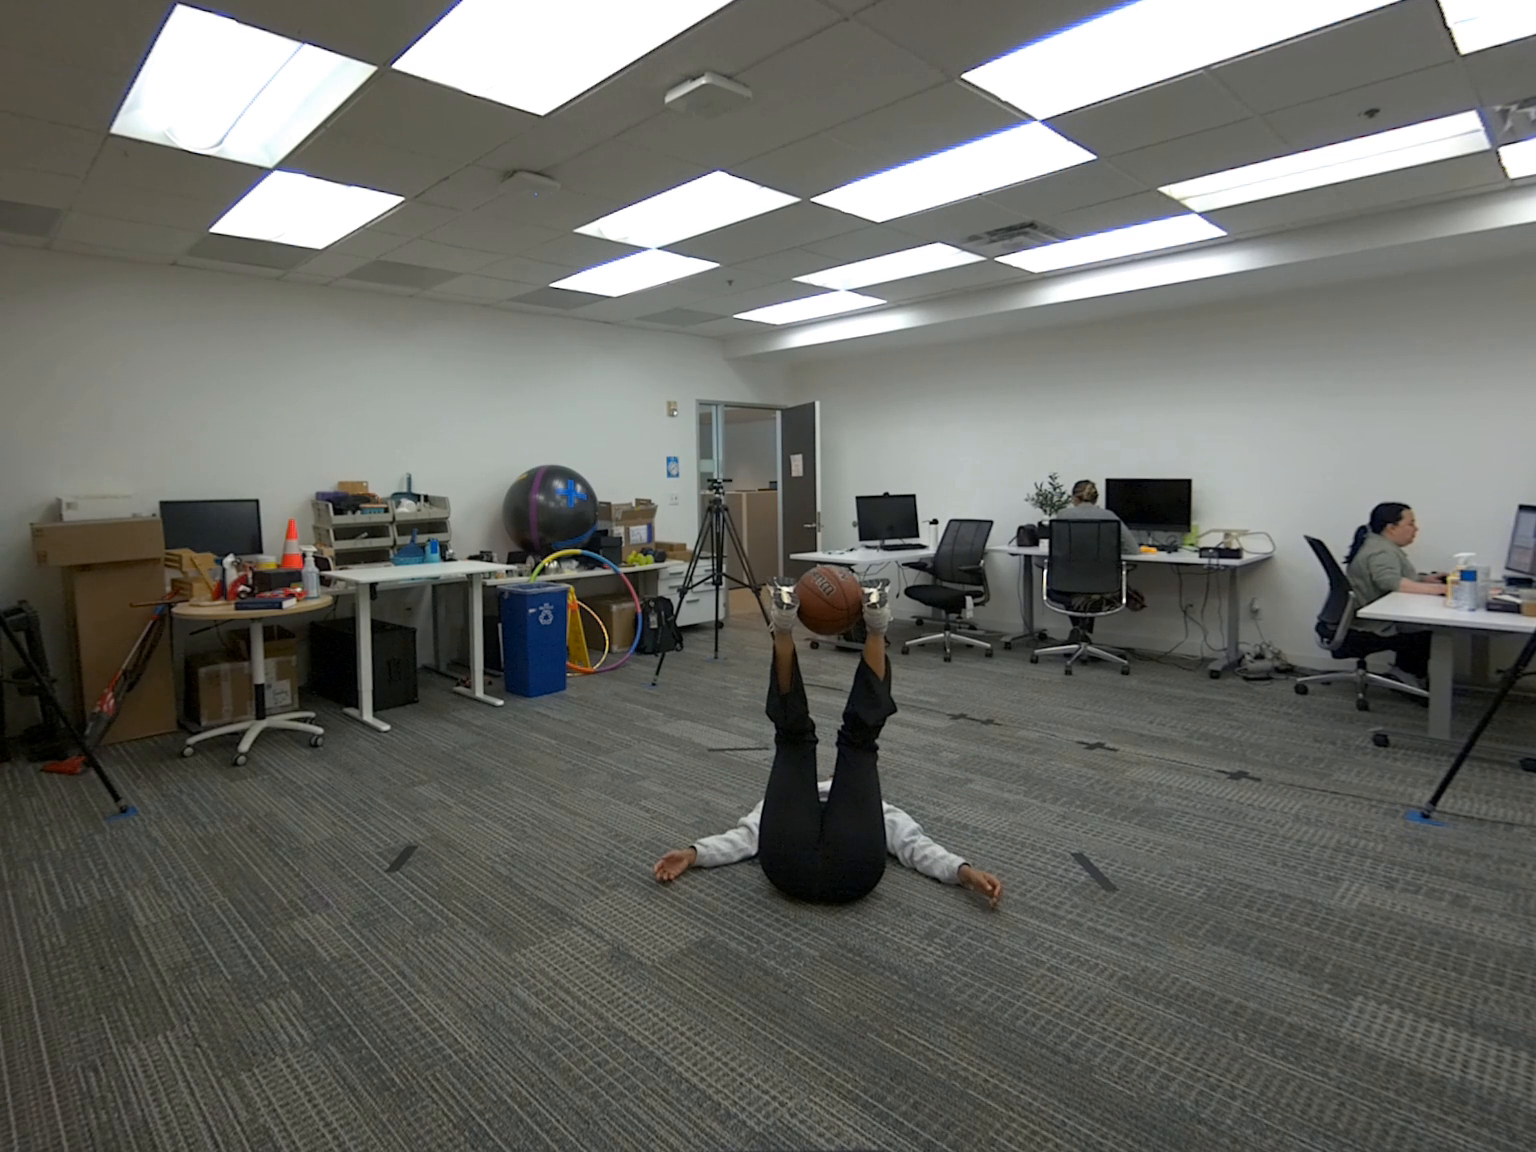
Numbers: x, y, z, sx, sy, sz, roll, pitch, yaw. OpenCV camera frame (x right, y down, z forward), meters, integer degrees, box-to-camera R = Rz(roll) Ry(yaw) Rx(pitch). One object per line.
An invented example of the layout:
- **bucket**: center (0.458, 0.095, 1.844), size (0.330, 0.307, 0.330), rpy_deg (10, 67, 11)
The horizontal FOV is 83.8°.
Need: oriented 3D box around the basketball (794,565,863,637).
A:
- **basketball**: center (0.207, 0.082, 2.896), size (0.236, 0.235, 0.236), rpy_deg (-4, 2, -2)
